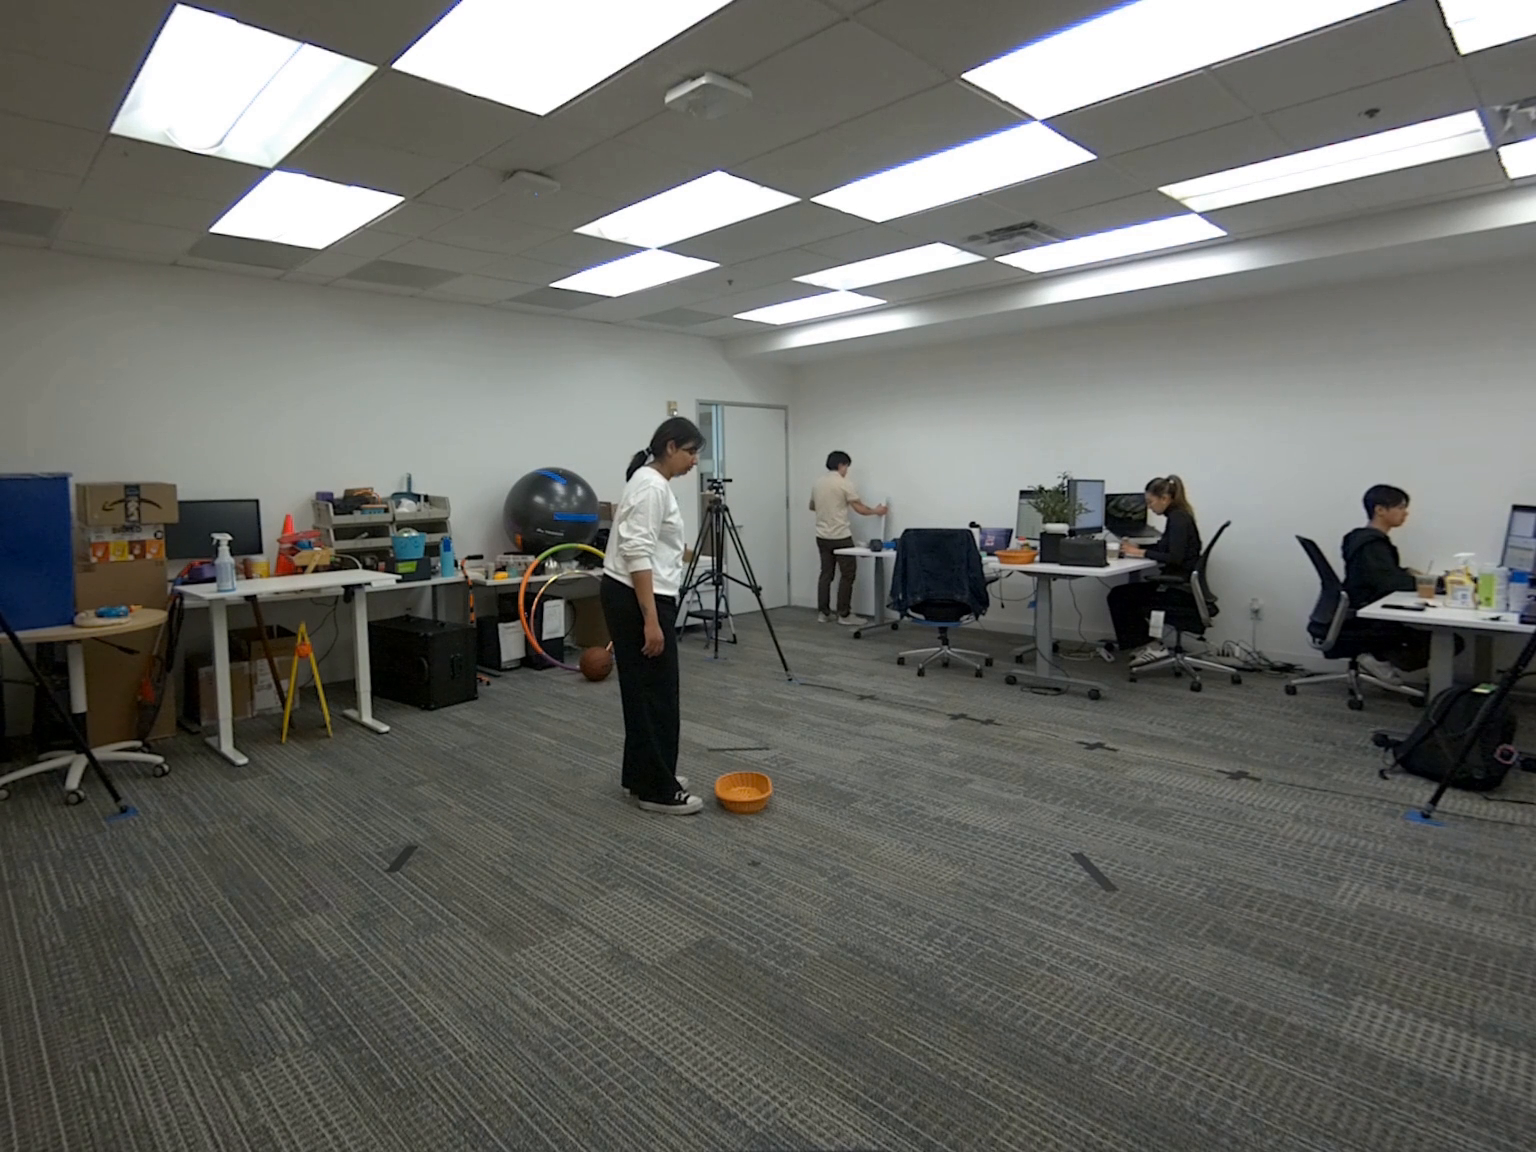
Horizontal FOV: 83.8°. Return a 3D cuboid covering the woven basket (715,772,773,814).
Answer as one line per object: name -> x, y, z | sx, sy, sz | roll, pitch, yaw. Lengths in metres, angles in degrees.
woven basket -> -0.105, 0.936, 3.701 | 0.253, 0.073, 0.352 | -3, 7, 1
